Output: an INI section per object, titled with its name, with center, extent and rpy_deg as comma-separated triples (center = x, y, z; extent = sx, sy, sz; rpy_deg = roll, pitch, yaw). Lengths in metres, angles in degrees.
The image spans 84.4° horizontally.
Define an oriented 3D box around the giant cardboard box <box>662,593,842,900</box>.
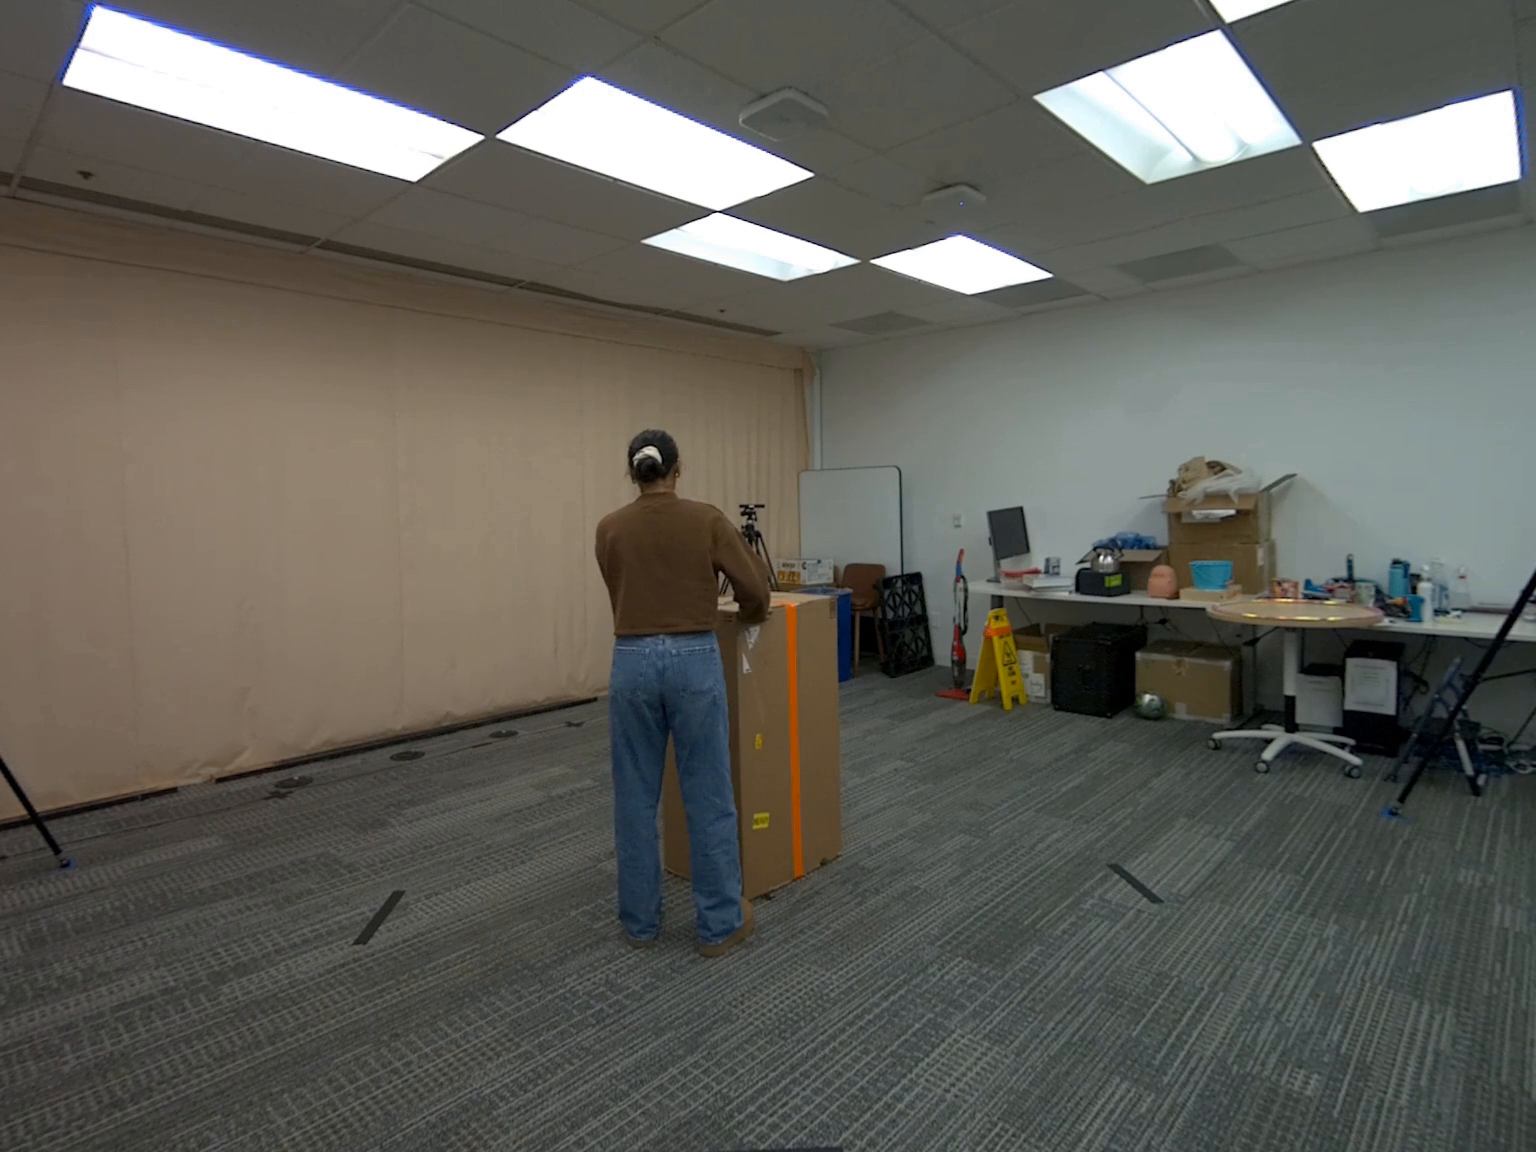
[giant cardboard box]
center = -0.059, 0.606, 3.260
extent = 0.440, 1.024, 0.560
rpy_deg = 1, 4, 44
